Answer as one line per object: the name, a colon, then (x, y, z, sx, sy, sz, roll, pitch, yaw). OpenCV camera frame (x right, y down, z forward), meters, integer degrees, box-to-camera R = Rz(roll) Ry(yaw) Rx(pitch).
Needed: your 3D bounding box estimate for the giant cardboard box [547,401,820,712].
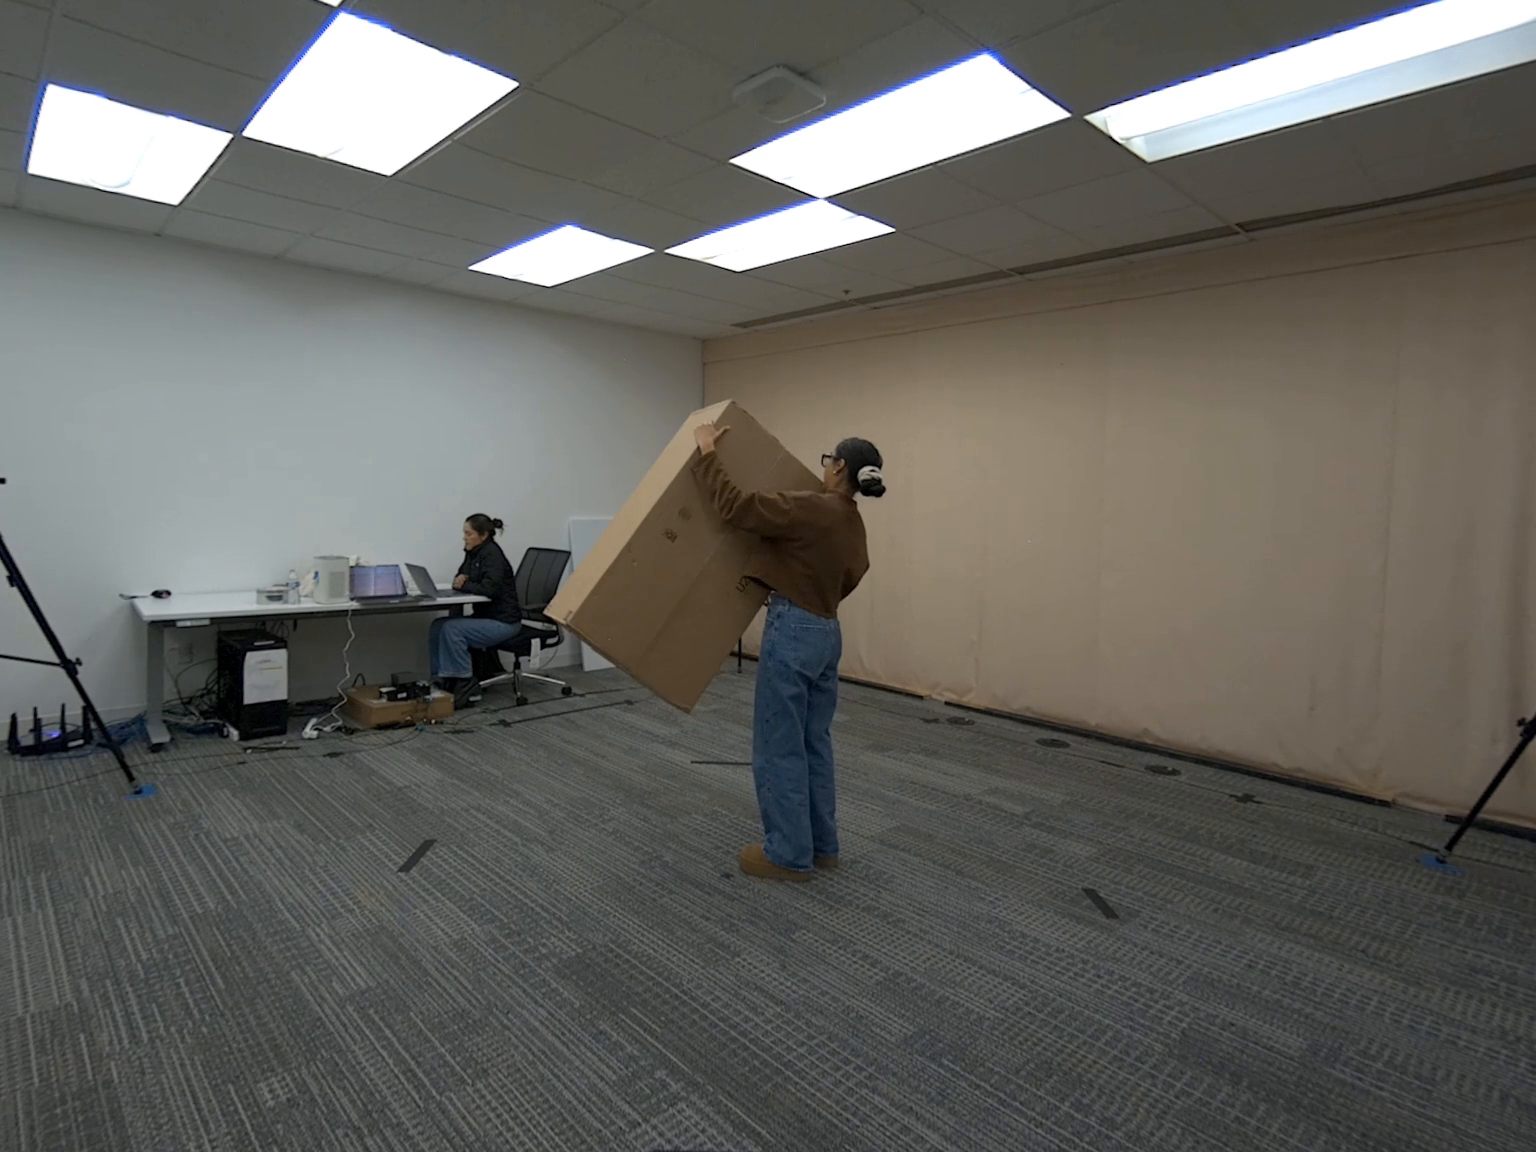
giant cardboard box: (-0.304, -0.075, 3.281, 0.566, 1.028, 0.434, 39, -14, -20)
